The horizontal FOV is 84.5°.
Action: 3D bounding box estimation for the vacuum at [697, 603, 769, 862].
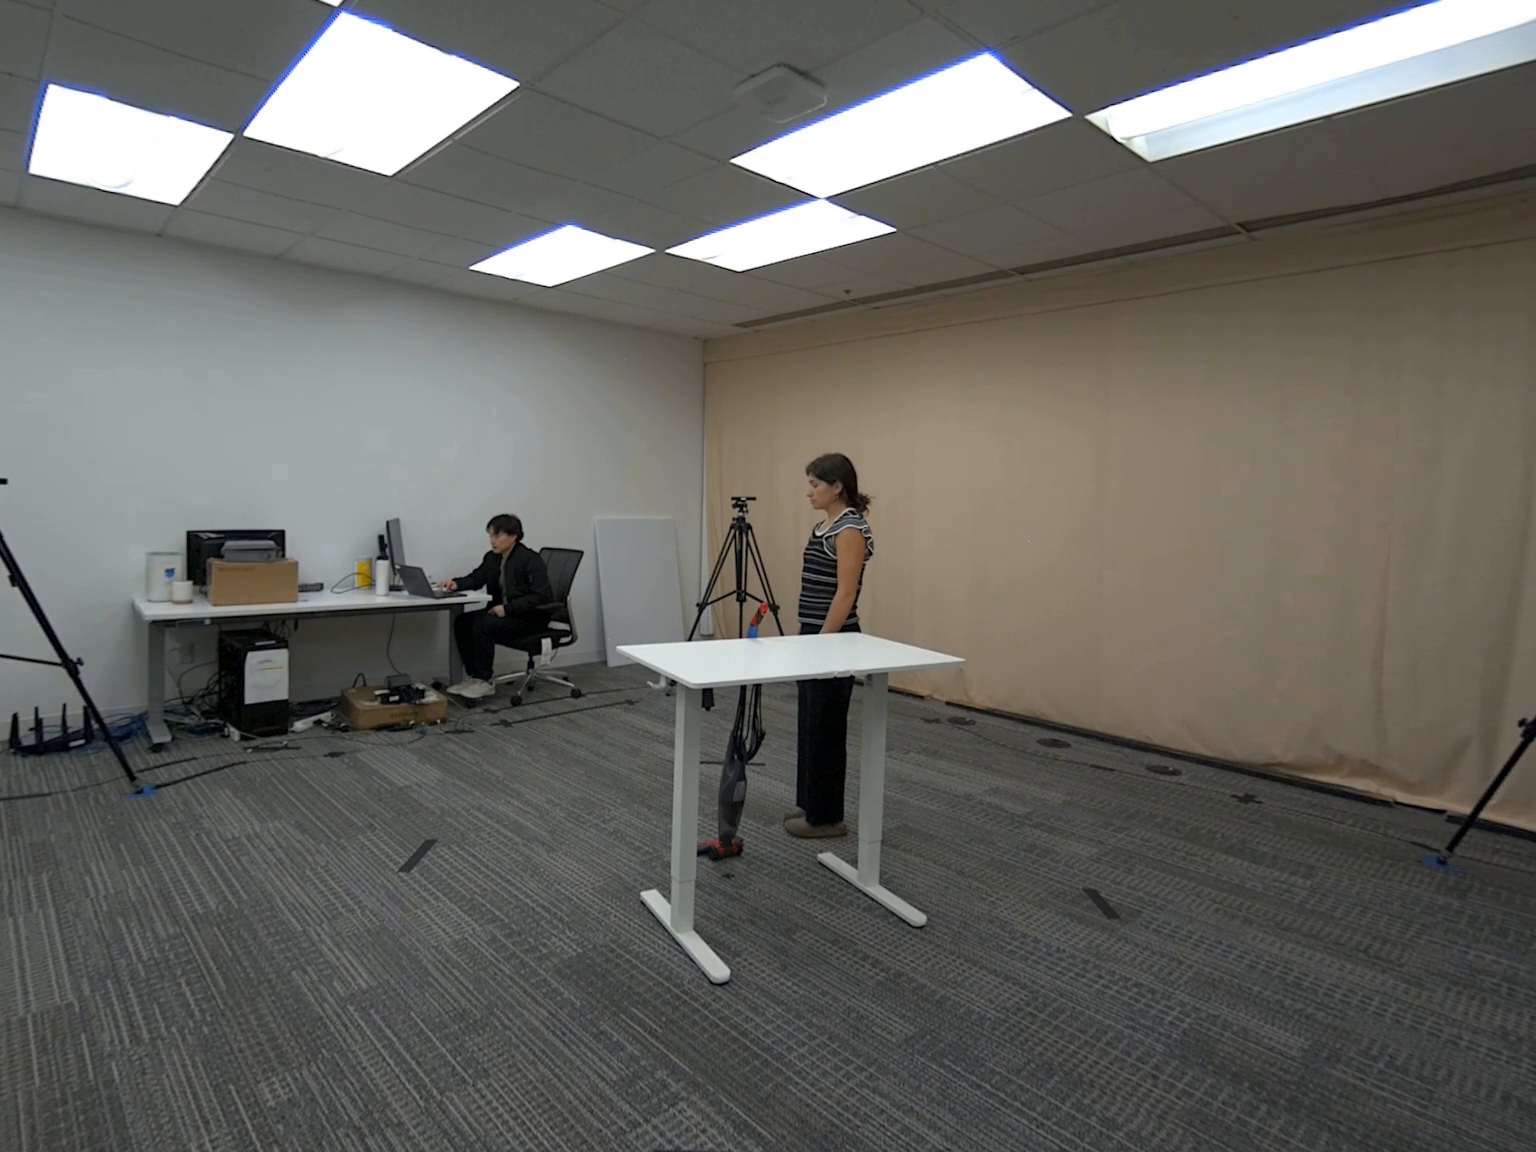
[{"bbox_3d":[-0.109,0.600,3.166,0.247,1.039,0.148,-1,20,-33],"label":"vacuum"}]
